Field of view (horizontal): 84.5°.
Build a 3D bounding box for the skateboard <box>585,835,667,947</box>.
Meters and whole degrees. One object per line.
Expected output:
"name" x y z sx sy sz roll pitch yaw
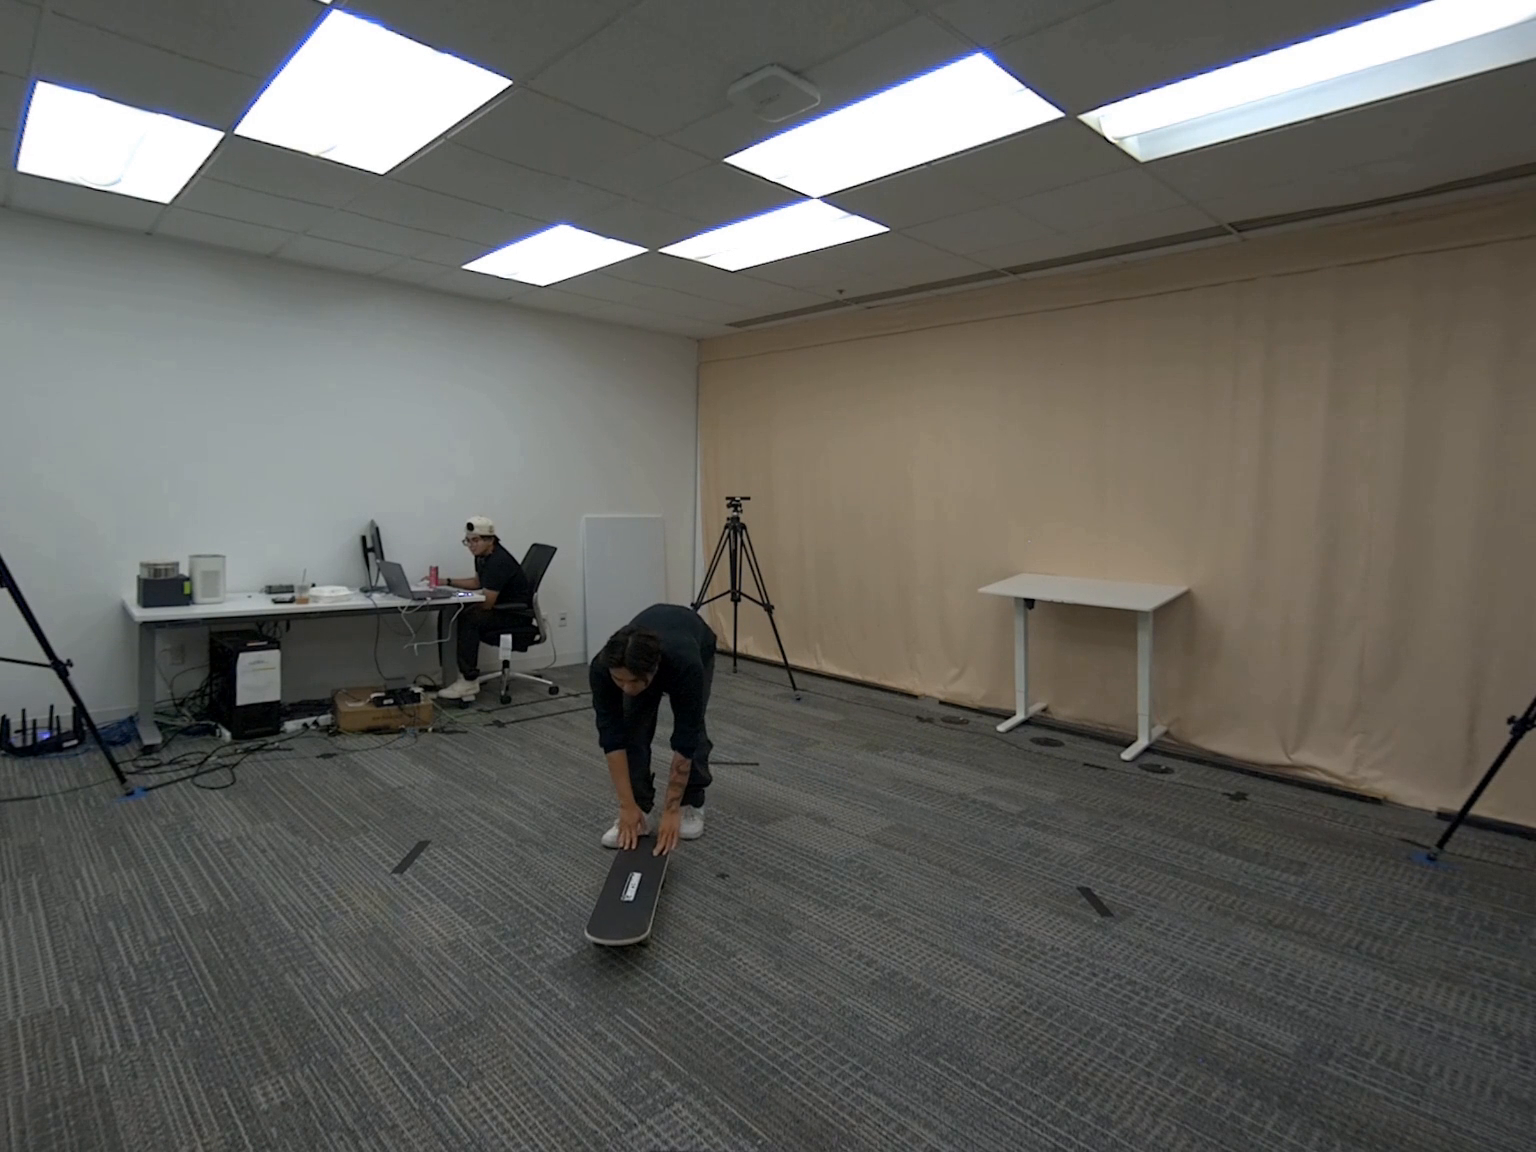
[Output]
"skateboard" -0.465 1.074 2.804 0.193 0.110 0.788 1 5 -2
